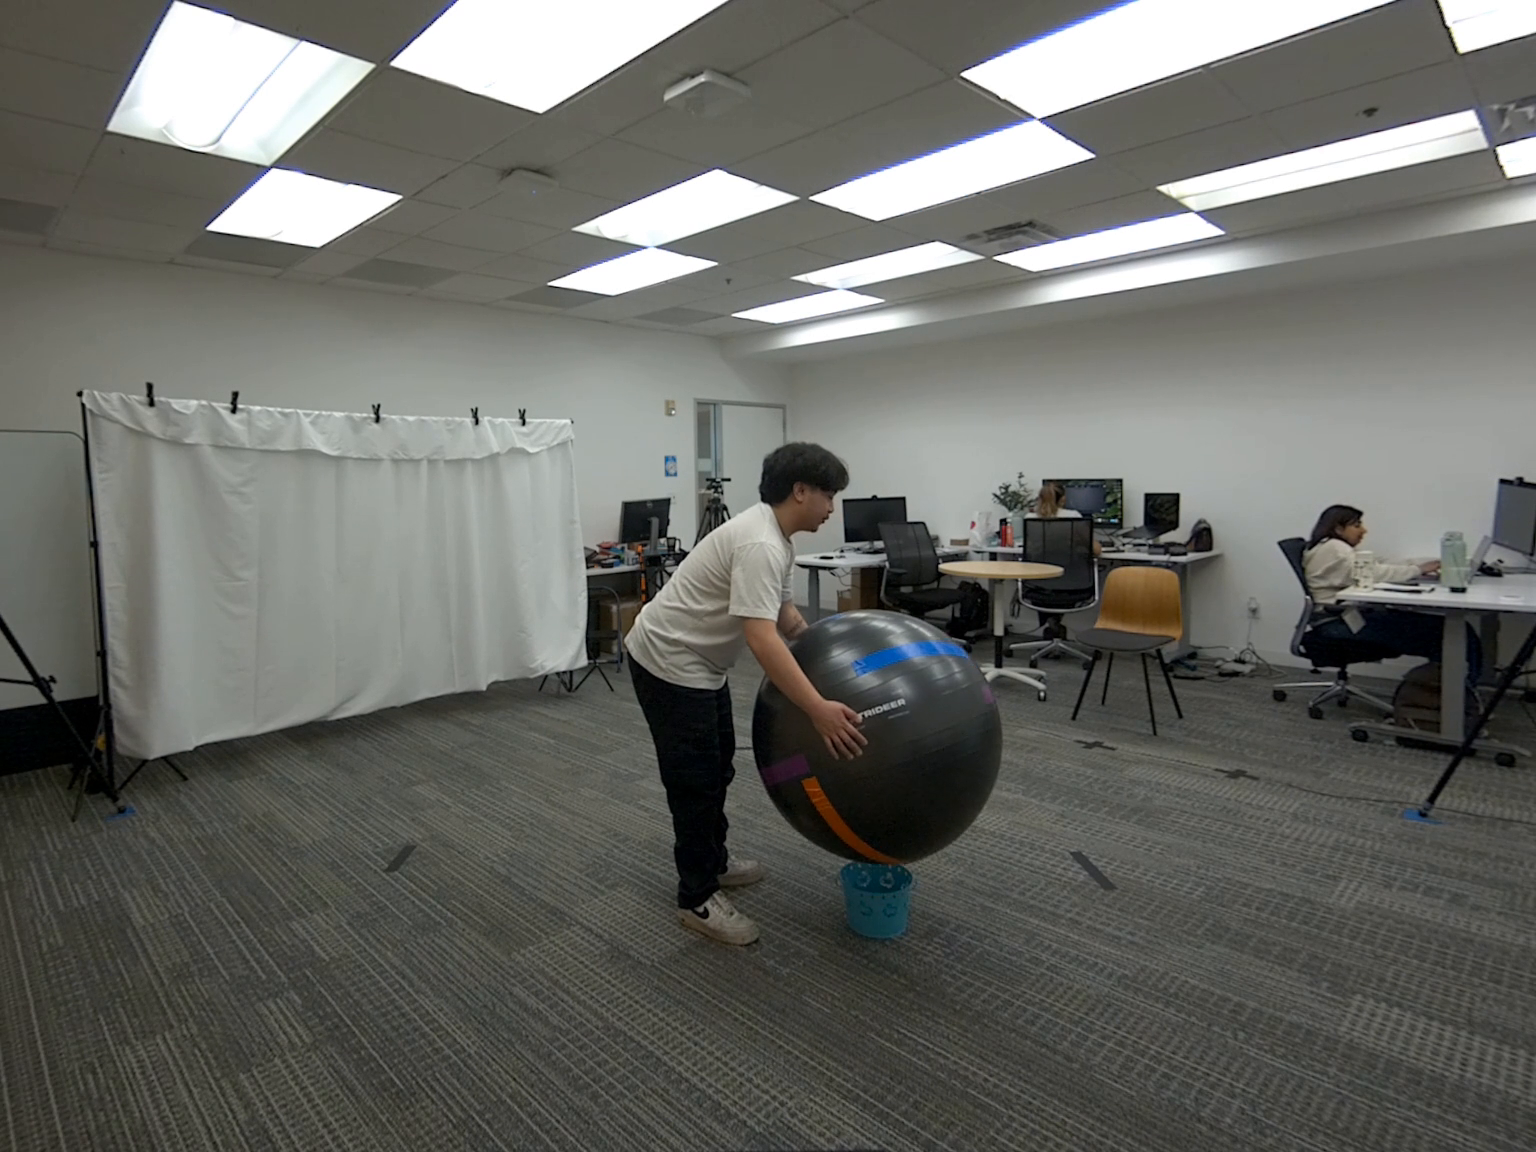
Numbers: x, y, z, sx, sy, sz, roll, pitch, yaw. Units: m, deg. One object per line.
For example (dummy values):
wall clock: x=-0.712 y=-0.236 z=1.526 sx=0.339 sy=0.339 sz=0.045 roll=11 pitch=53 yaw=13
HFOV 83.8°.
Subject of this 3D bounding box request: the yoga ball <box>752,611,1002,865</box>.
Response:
yoga ball: x=0.331 y=0.492 z=2.643 sx=0.757 sy=0.755 sz=0.762 roll=-1 pitch=5 yaw=-2
